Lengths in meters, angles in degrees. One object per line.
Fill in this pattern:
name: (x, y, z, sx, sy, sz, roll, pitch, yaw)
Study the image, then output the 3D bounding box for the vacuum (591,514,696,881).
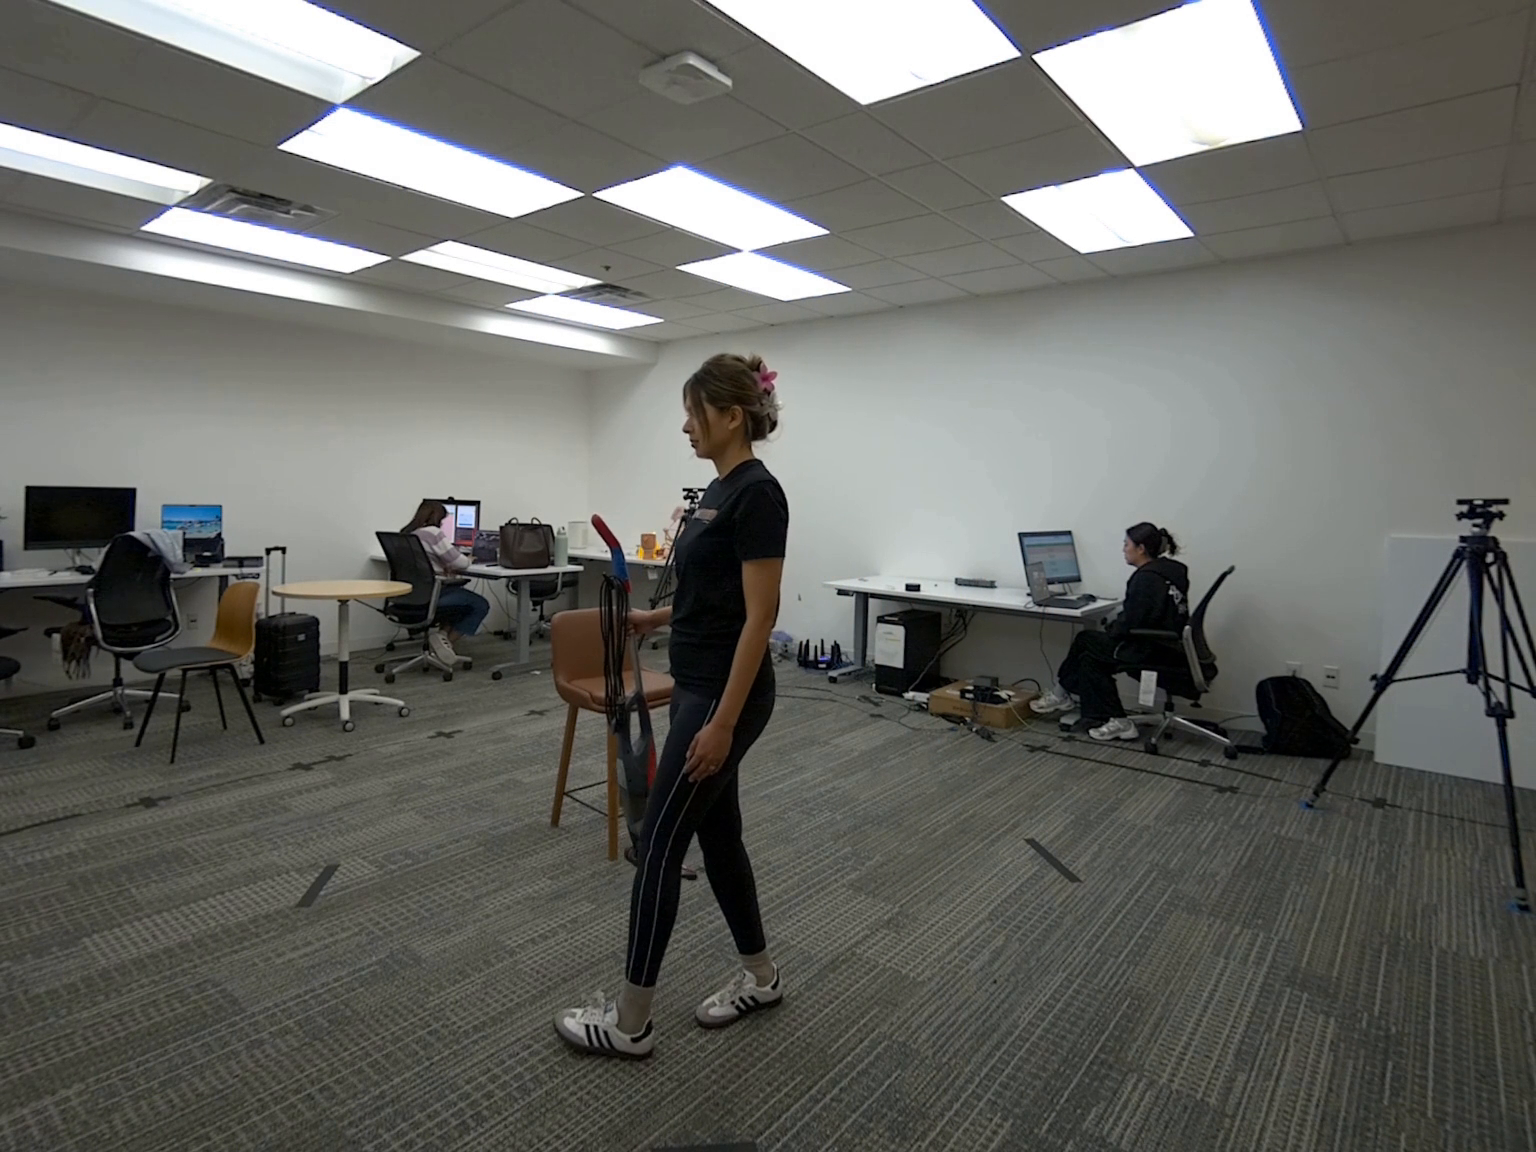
vacuum: (-0.414, 0.347, 2.426, 0.261, 1.038, 0.141, 2, 13, 41)
